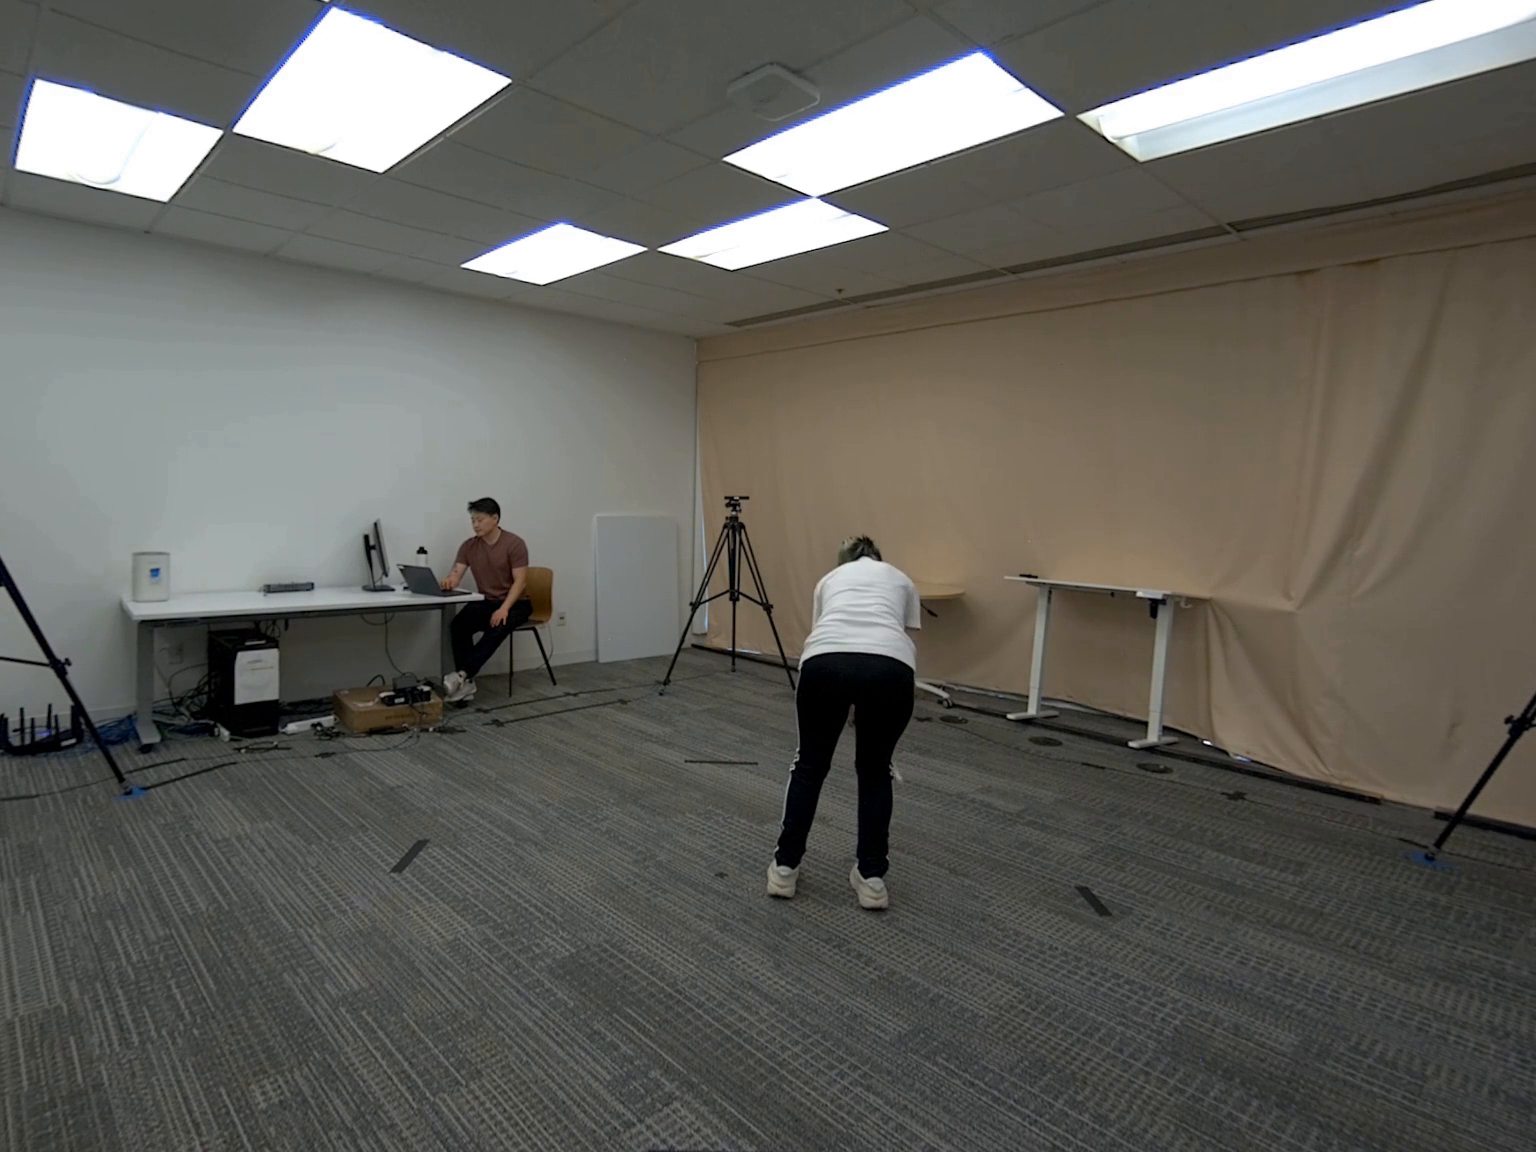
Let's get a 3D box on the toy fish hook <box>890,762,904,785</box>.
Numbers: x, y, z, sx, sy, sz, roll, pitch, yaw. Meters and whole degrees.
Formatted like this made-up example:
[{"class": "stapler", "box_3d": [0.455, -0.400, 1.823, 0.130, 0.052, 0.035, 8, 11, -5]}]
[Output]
[{"class": "toy fish hook", "box_3d": [0.473, 0.727, 3.336, 0.048, 0.230, 0.494, -32, -25, 3]}]
